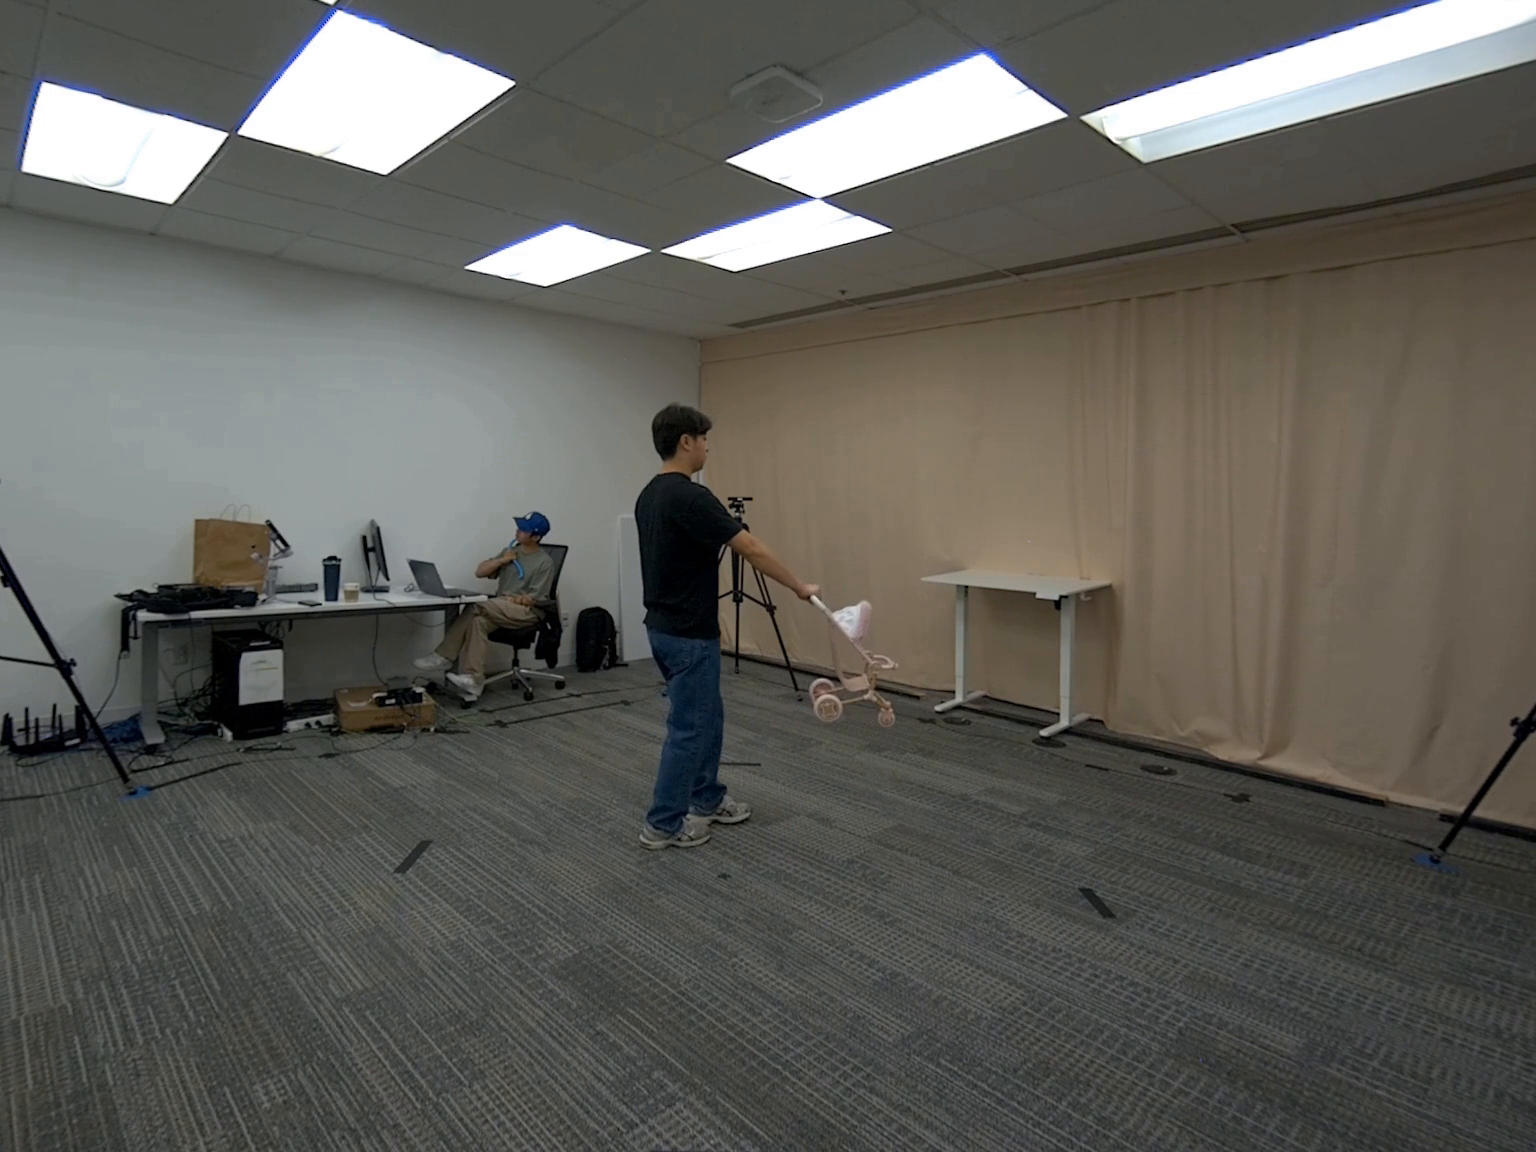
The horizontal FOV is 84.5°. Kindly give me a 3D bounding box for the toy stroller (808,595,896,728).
[{"bbox_3d":[0.330,0.334,3.295,0.343,0.533,0.281,0,4,5],"label":"toy stroller"}]
